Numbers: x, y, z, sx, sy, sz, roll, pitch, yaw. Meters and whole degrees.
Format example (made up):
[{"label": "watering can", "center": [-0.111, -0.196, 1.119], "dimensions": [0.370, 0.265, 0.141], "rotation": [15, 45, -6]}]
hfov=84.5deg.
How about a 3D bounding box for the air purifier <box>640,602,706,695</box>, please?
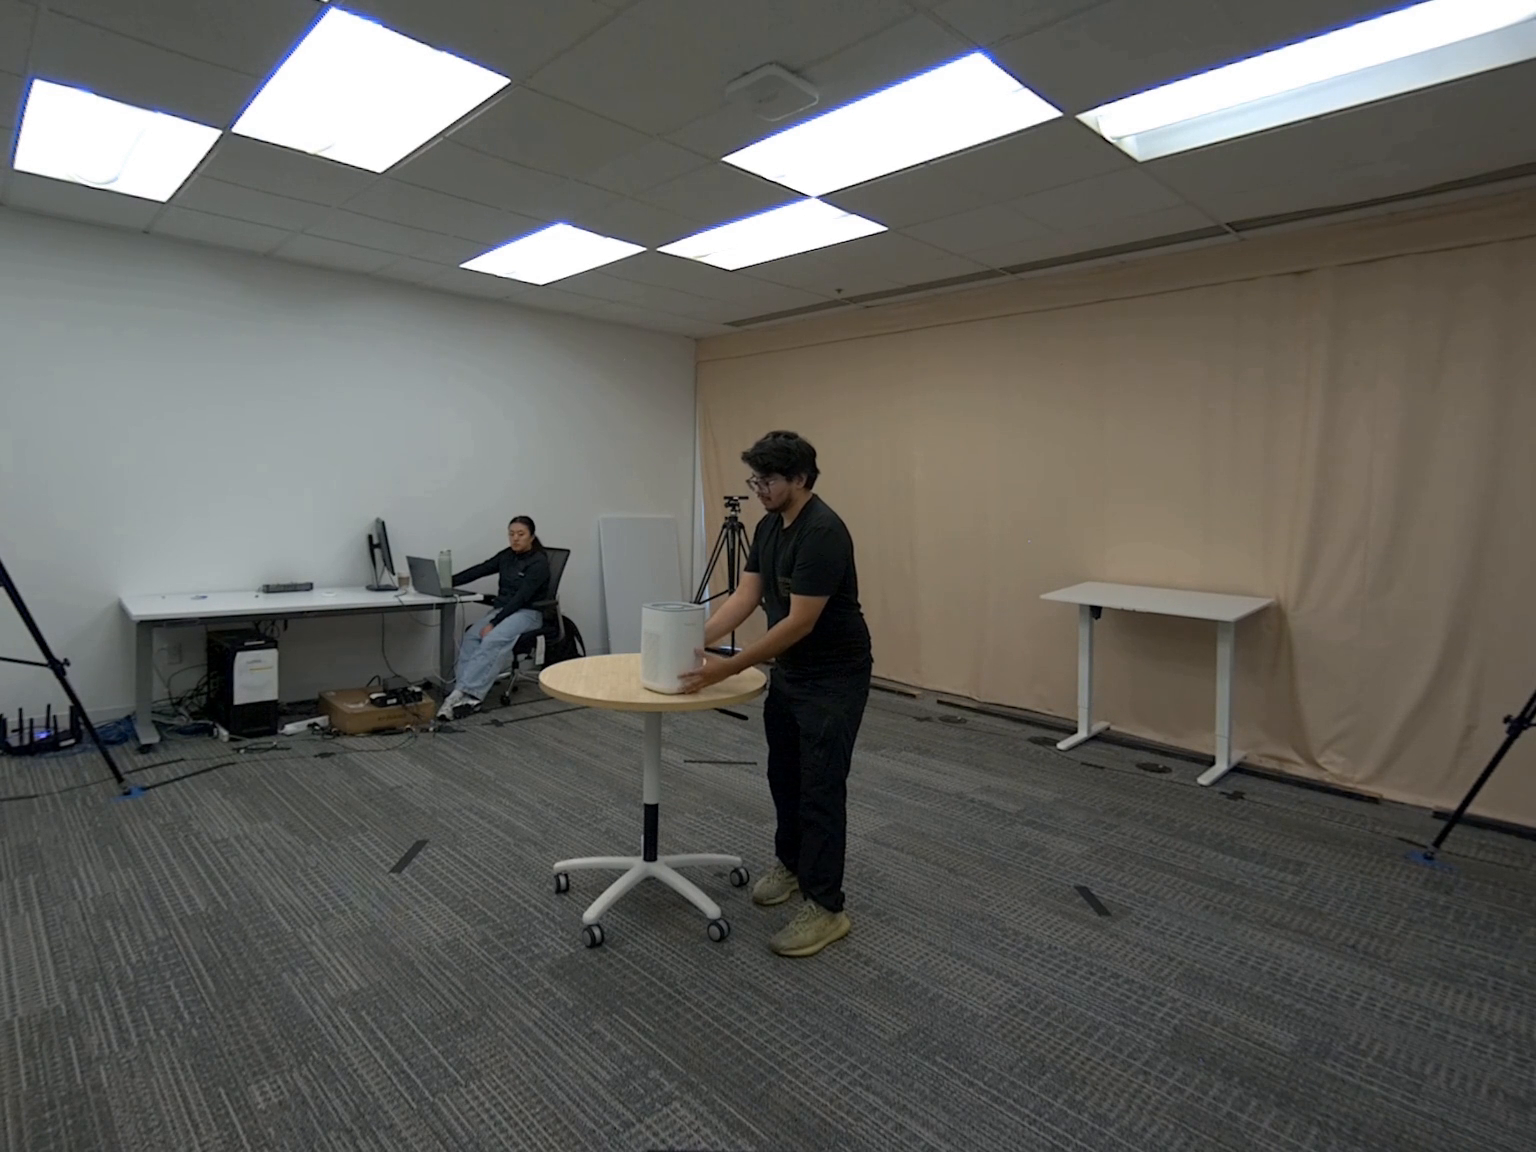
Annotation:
[{"label": "air purifier", "center": [-0.306, 0.224, 2.649], "dimensions": [0.167, 0.264, 0.176], "rotation": [-4, 7, -43]}]
